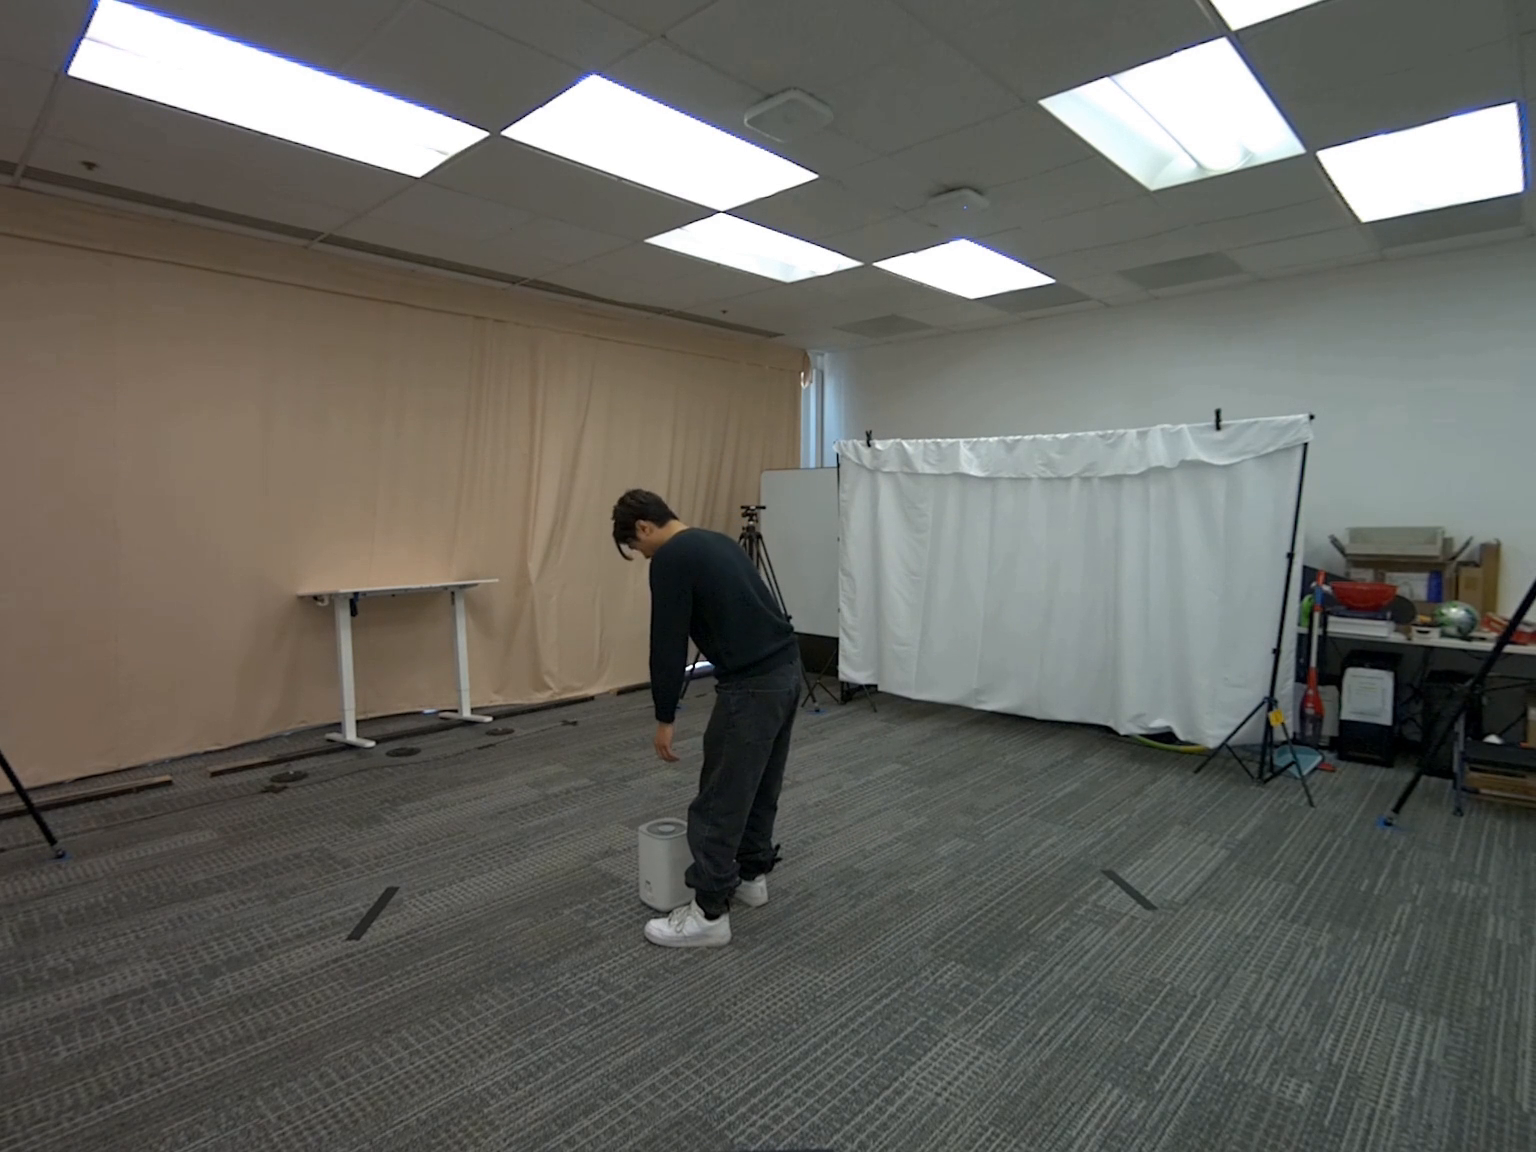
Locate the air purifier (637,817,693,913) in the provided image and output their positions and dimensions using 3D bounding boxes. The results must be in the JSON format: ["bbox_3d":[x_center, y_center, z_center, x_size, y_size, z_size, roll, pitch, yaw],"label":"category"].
[{"bbox_3d":[-0.352,1.019,2.955,0.177,0.265,0.166,2,4,44],"label":"air purifier"}]
